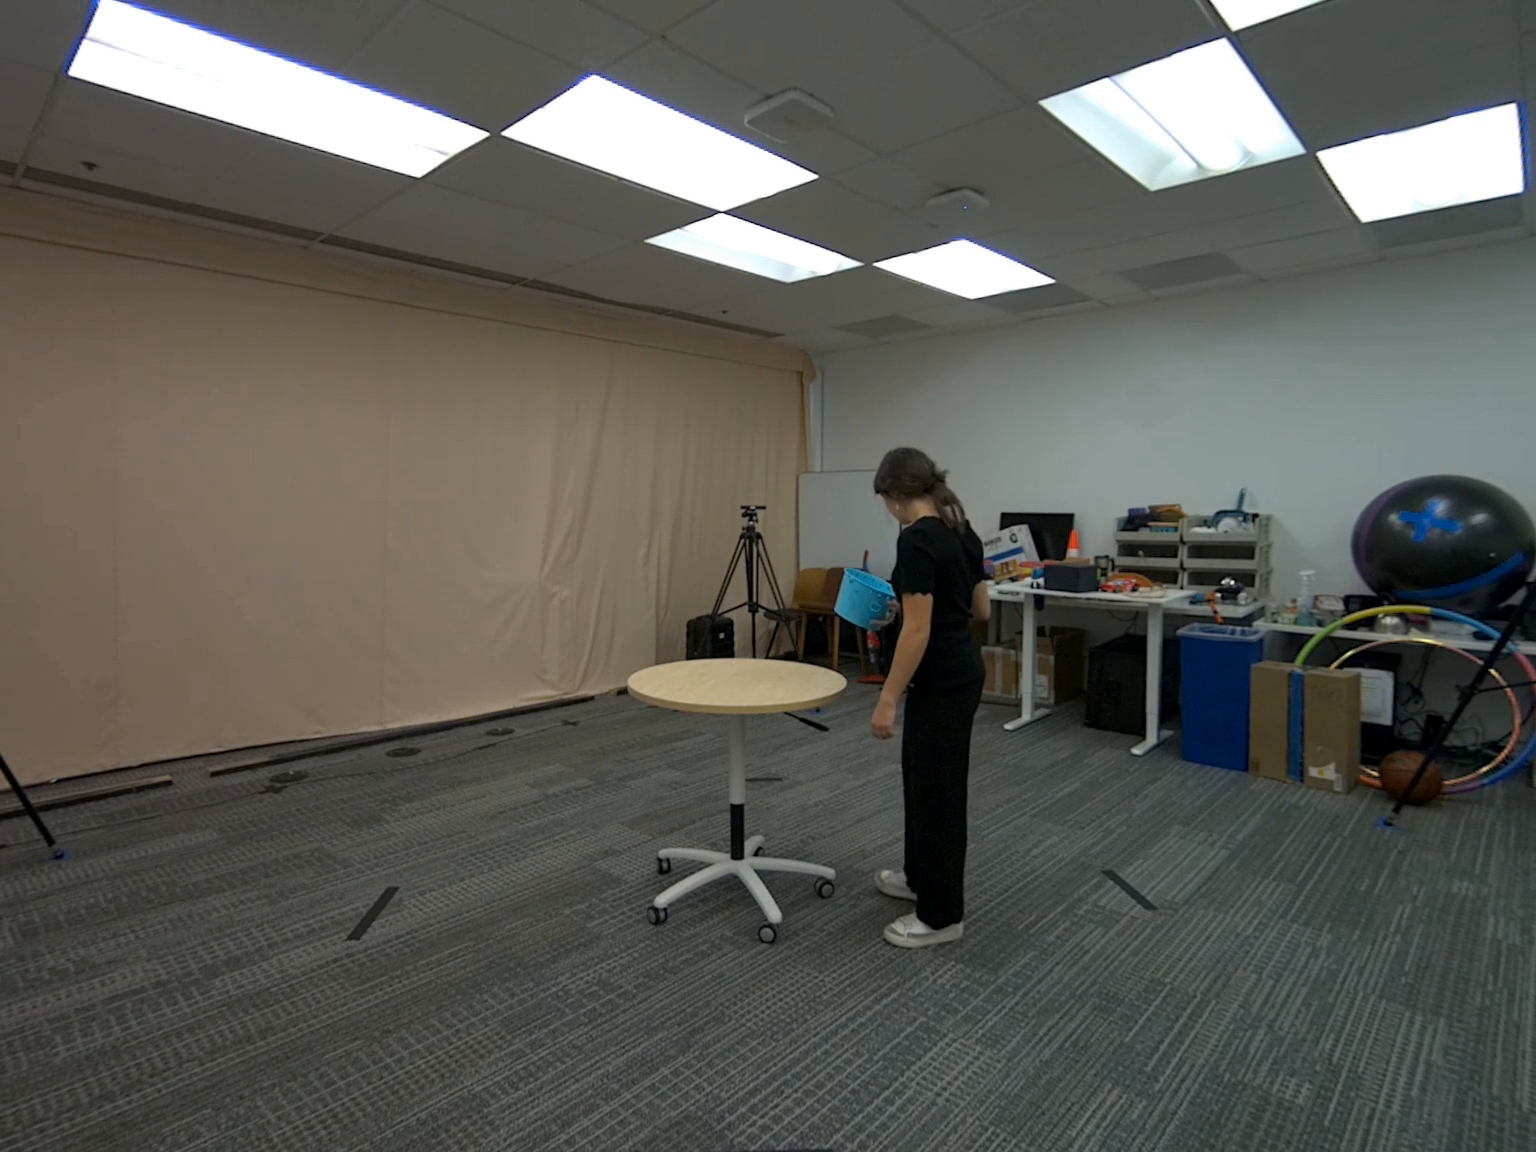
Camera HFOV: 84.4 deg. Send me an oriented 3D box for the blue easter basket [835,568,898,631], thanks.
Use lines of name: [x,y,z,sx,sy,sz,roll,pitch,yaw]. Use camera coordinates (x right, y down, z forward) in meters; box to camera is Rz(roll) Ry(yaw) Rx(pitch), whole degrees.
blue easter basket: [0.365,0.091,3.085,0.242,0.155,0.246,22,12,-7]
